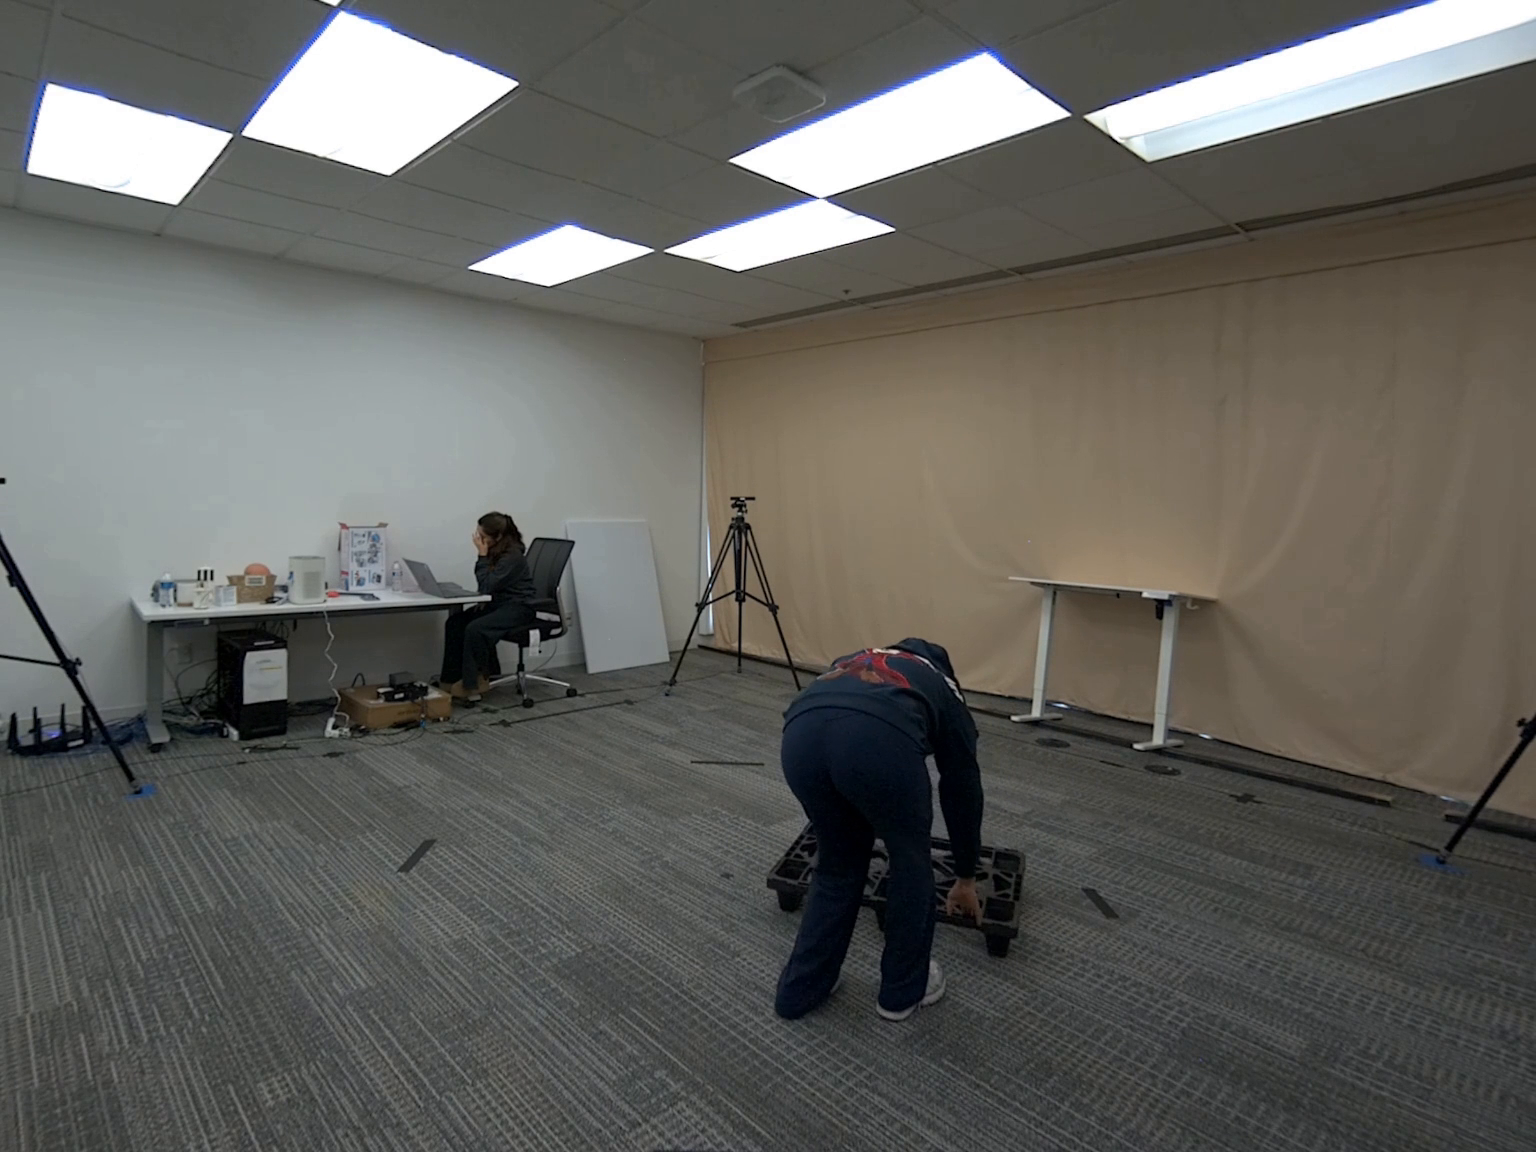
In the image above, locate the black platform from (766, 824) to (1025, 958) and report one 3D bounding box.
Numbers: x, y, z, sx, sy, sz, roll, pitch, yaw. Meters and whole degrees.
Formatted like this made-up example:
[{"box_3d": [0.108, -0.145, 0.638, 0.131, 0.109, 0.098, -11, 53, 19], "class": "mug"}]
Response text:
[{"box_3d": [0.457, 1.066, 2.932, 0.819, 0.143, 0.597, 3, 6, 20], "class": "black platform"}]
